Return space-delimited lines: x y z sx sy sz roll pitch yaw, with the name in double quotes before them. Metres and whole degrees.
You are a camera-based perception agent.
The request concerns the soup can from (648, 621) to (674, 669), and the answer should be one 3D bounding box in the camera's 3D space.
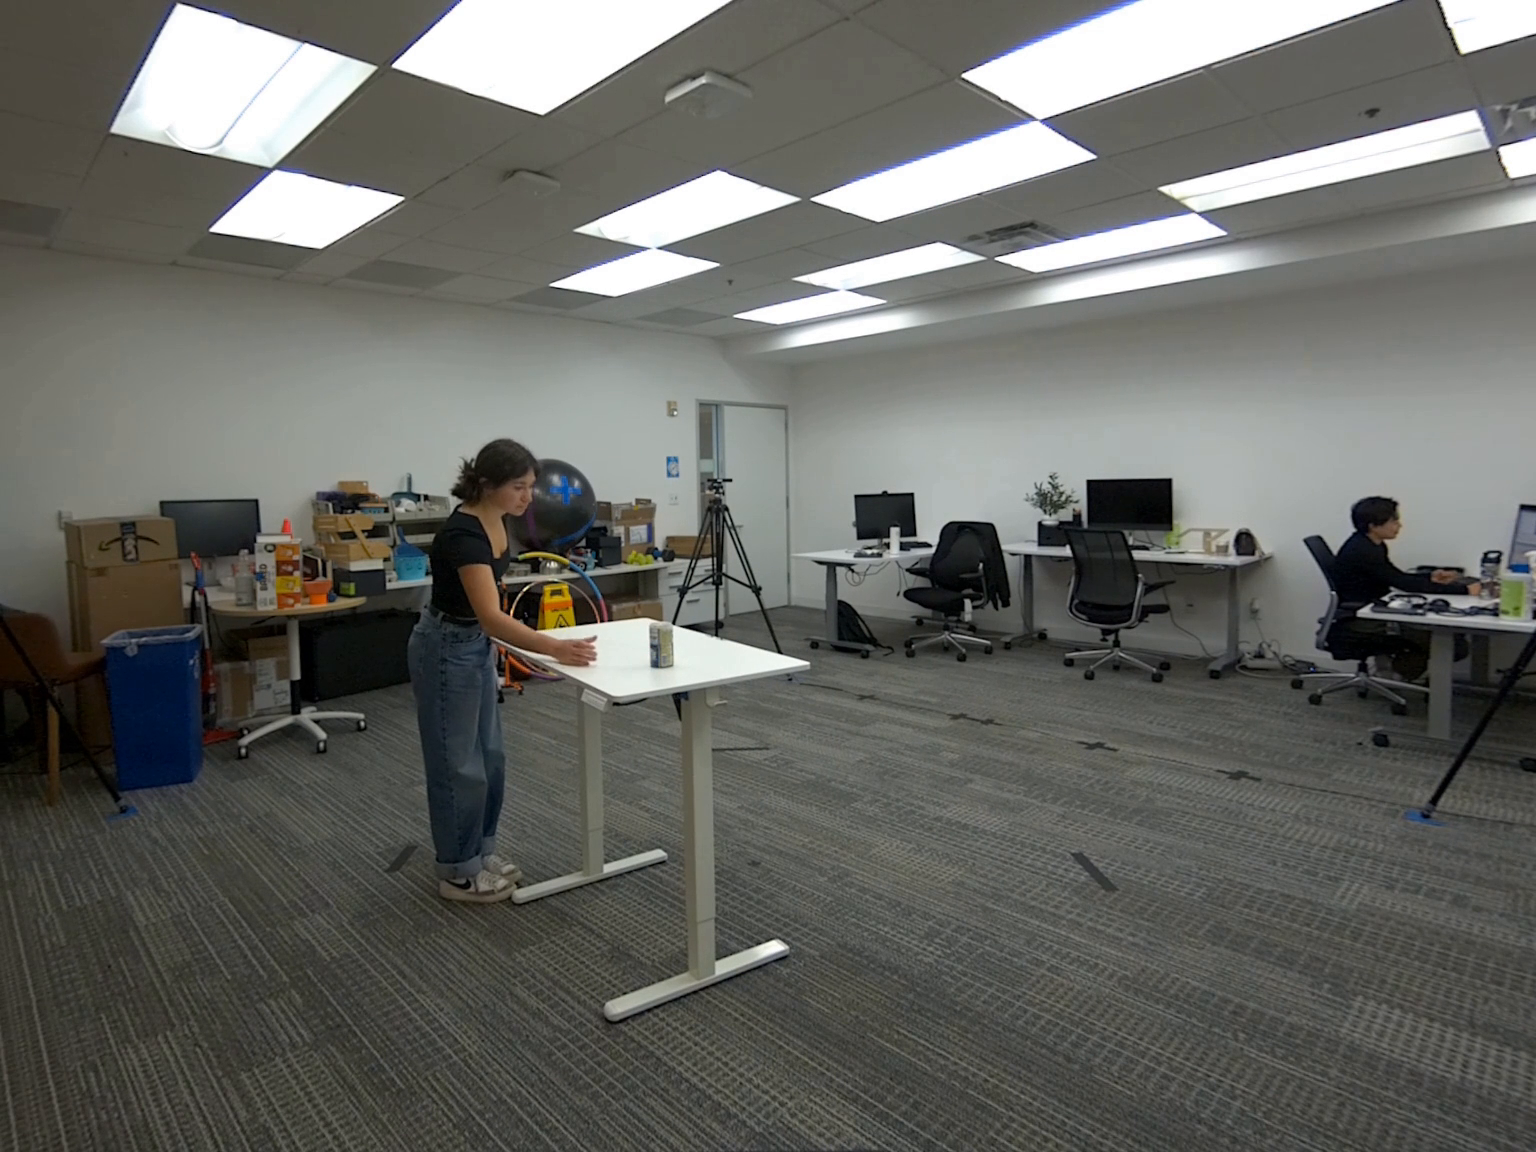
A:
"soup can" -0.293 0.190 2.381 0.067 0.121 0.067 0 0 -2
